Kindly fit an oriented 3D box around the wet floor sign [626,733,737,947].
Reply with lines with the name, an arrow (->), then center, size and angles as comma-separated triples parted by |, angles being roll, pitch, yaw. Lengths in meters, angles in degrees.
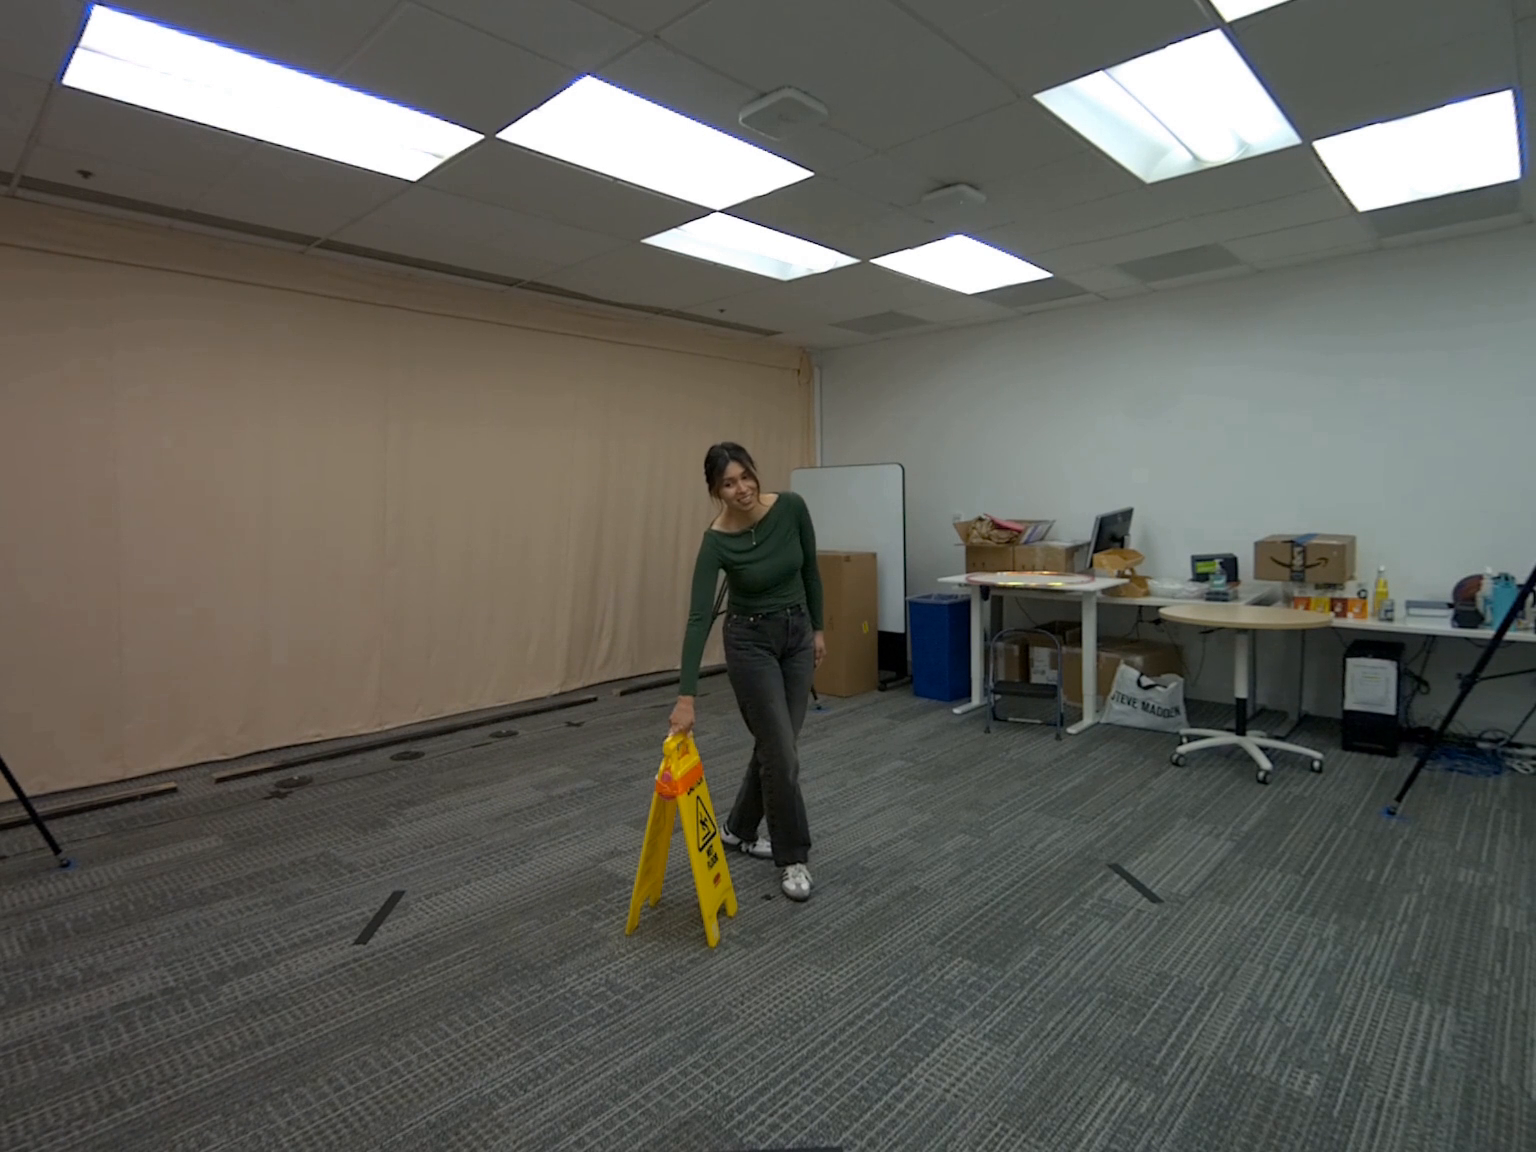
wet floor sign -> -0.288, 0.839, 2.799 | 0.295, 0.644, 0.278 | 1, 5, 17
